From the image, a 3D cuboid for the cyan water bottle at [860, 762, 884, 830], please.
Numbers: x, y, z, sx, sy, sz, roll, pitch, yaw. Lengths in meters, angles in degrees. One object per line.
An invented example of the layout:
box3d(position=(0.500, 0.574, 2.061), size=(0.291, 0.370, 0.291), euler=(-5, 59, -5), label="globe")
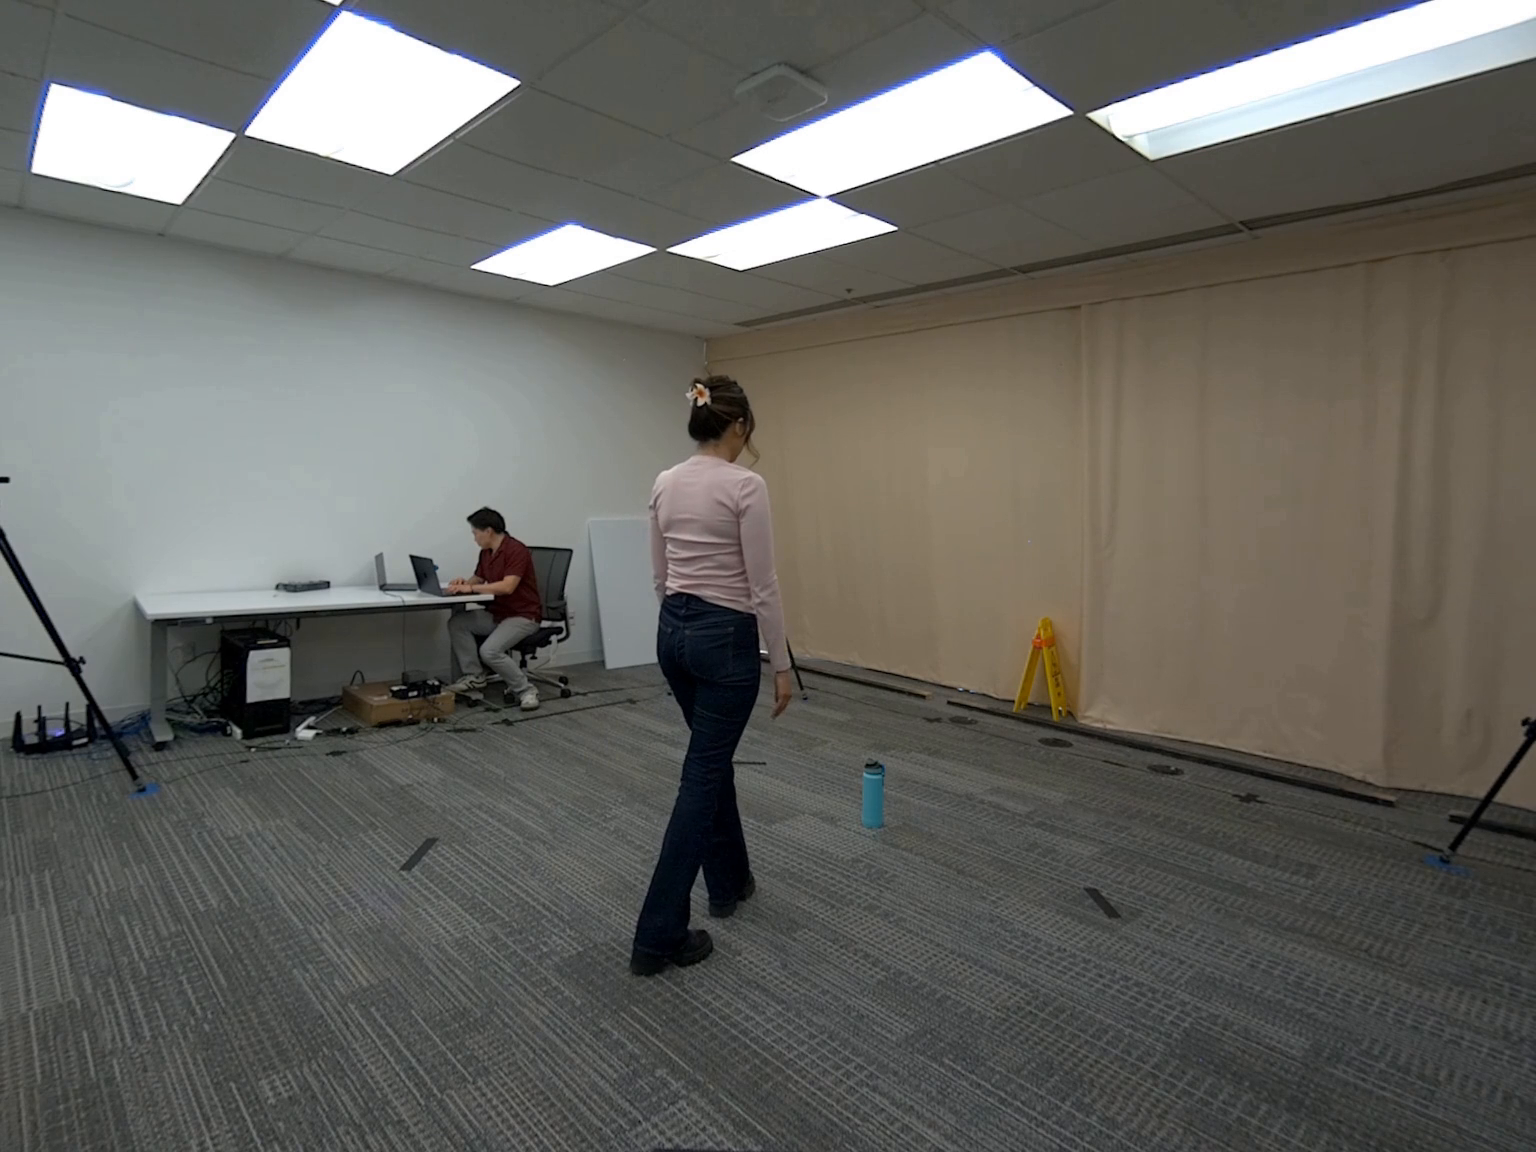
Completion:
box3d(position=(0.447, 0.931, 3.630), size=(0.092, 0.283, 0.092), euler=(3, 2, -1), label="cyan water bottle")
